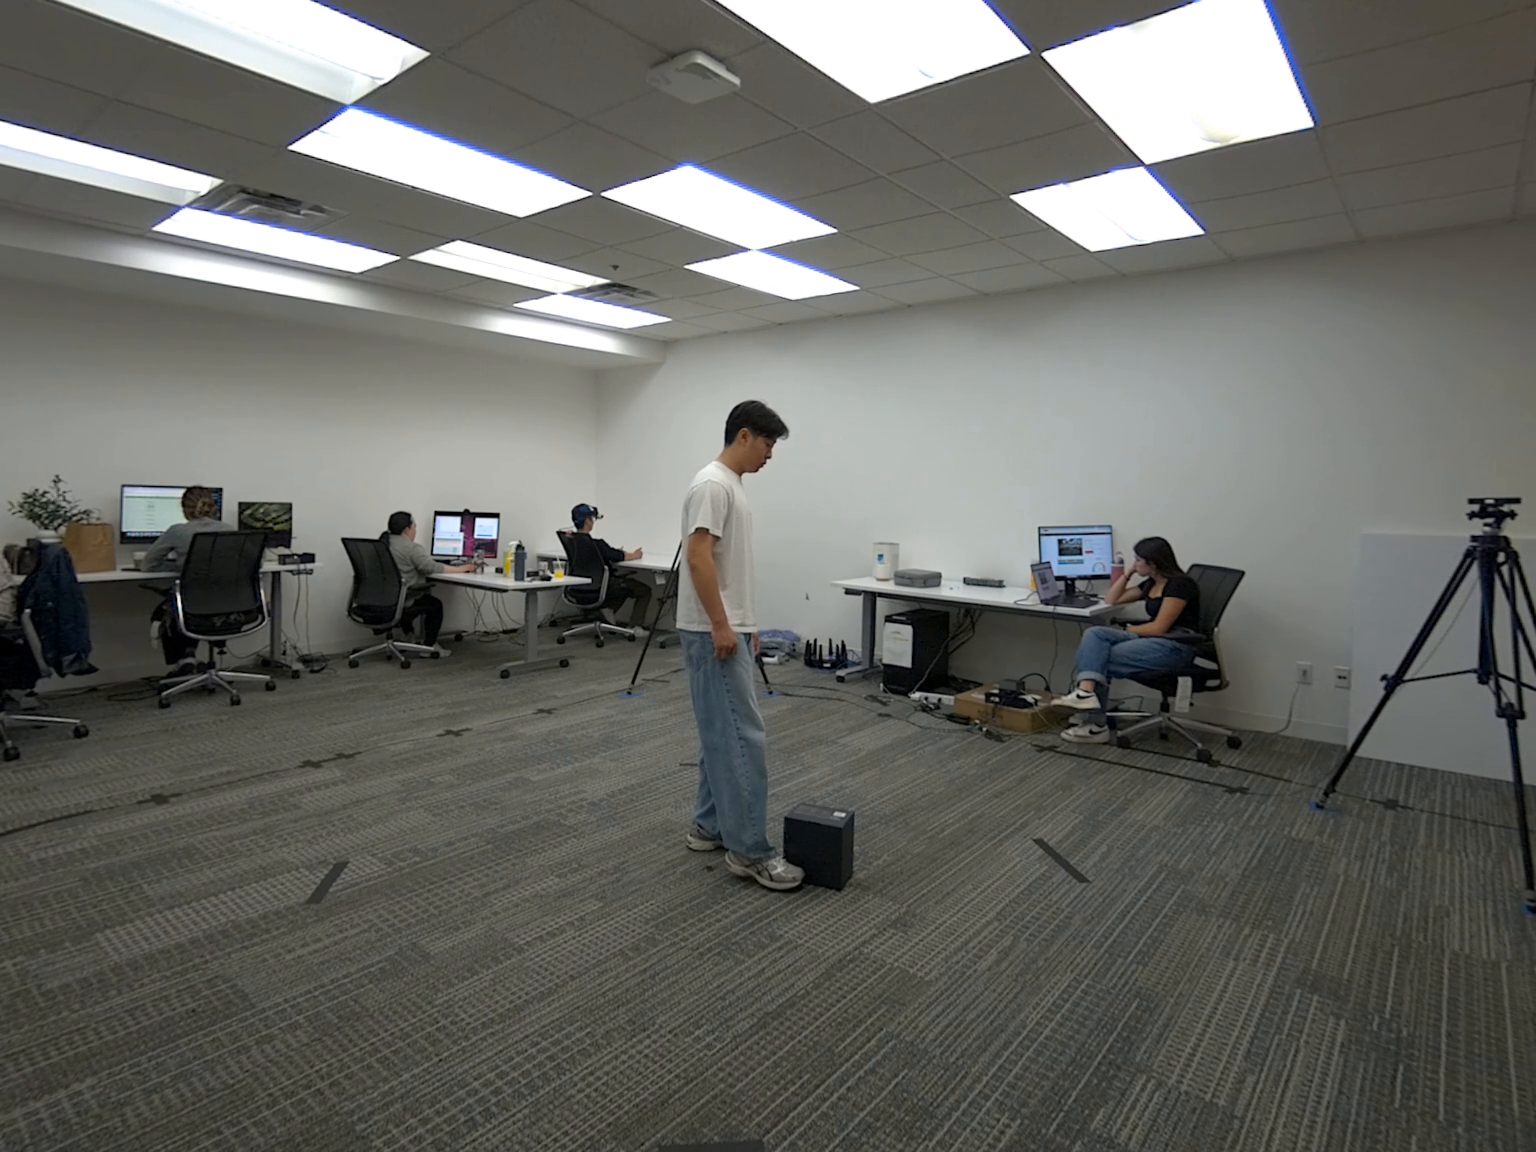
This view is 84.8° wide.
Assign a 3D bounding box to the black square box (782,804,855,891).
[{"bbox_3d":[0.183,0.962,3.056,0.222,0.227,0.153,3,5,24],"label":"black square box"}]
